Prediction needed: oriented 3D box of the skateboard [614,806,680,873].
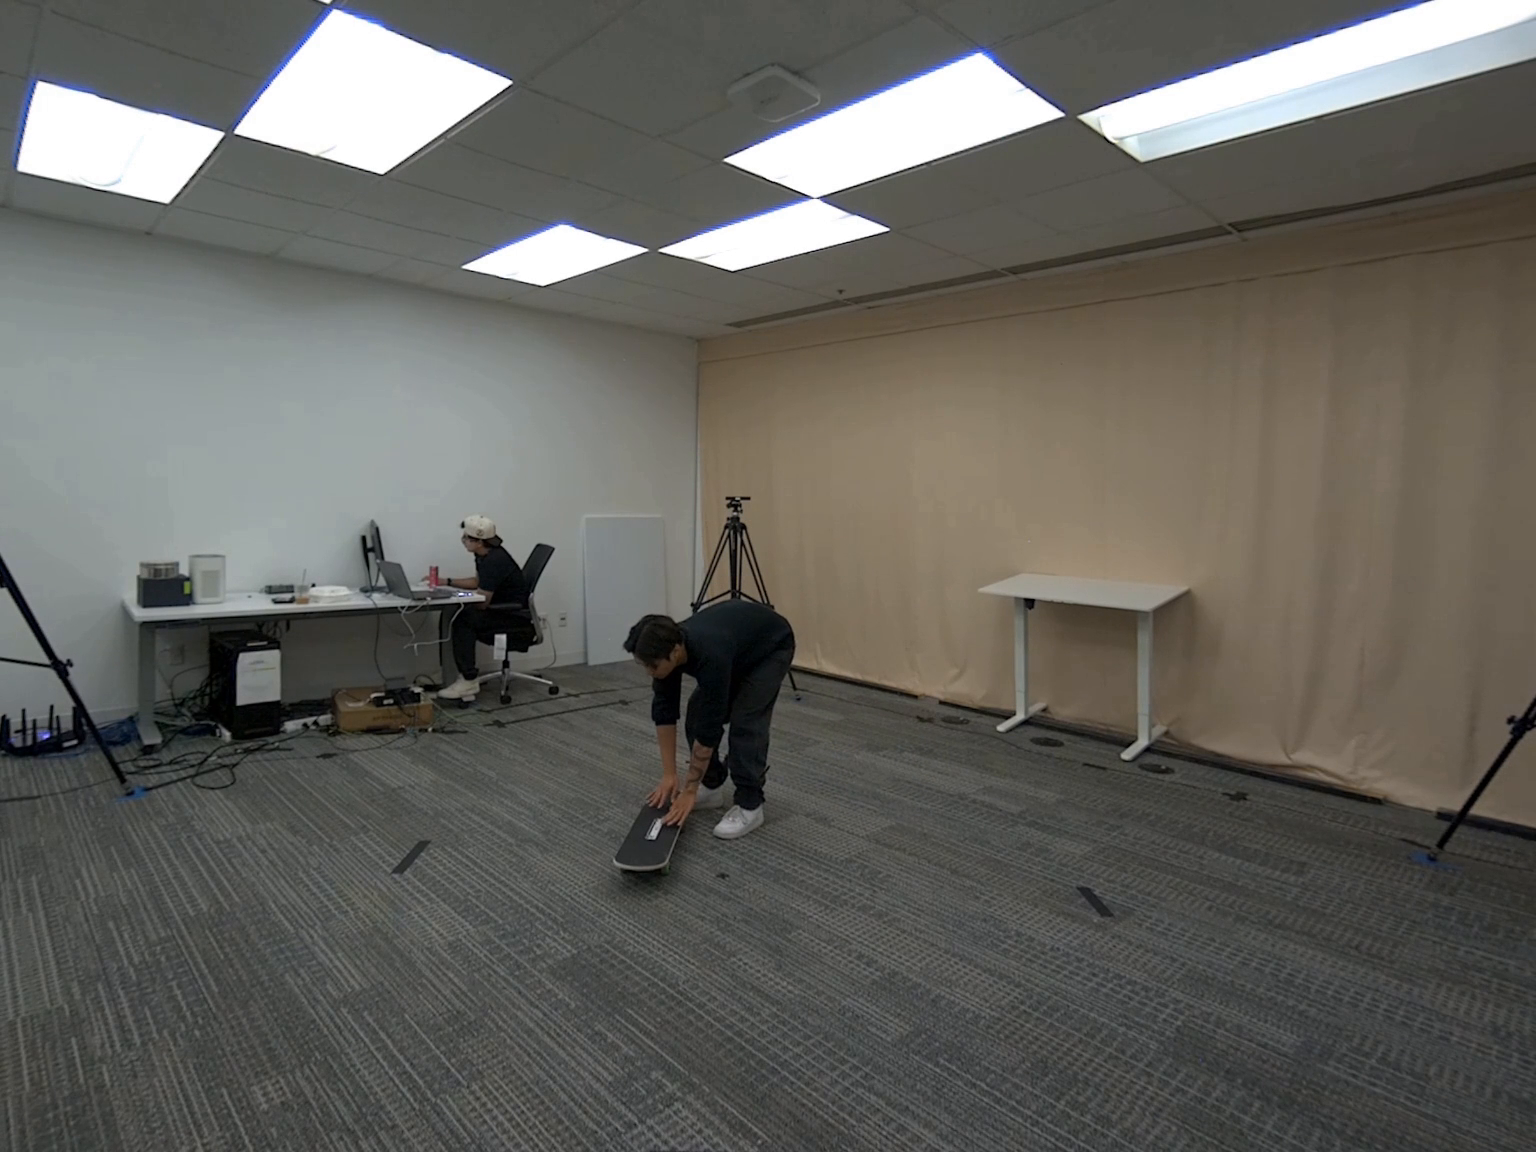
[{"bbox_3d":[-0.451,1.023,3.301,0.194,0.110,0.785,1,5,2],"label":"skateboard"}]
